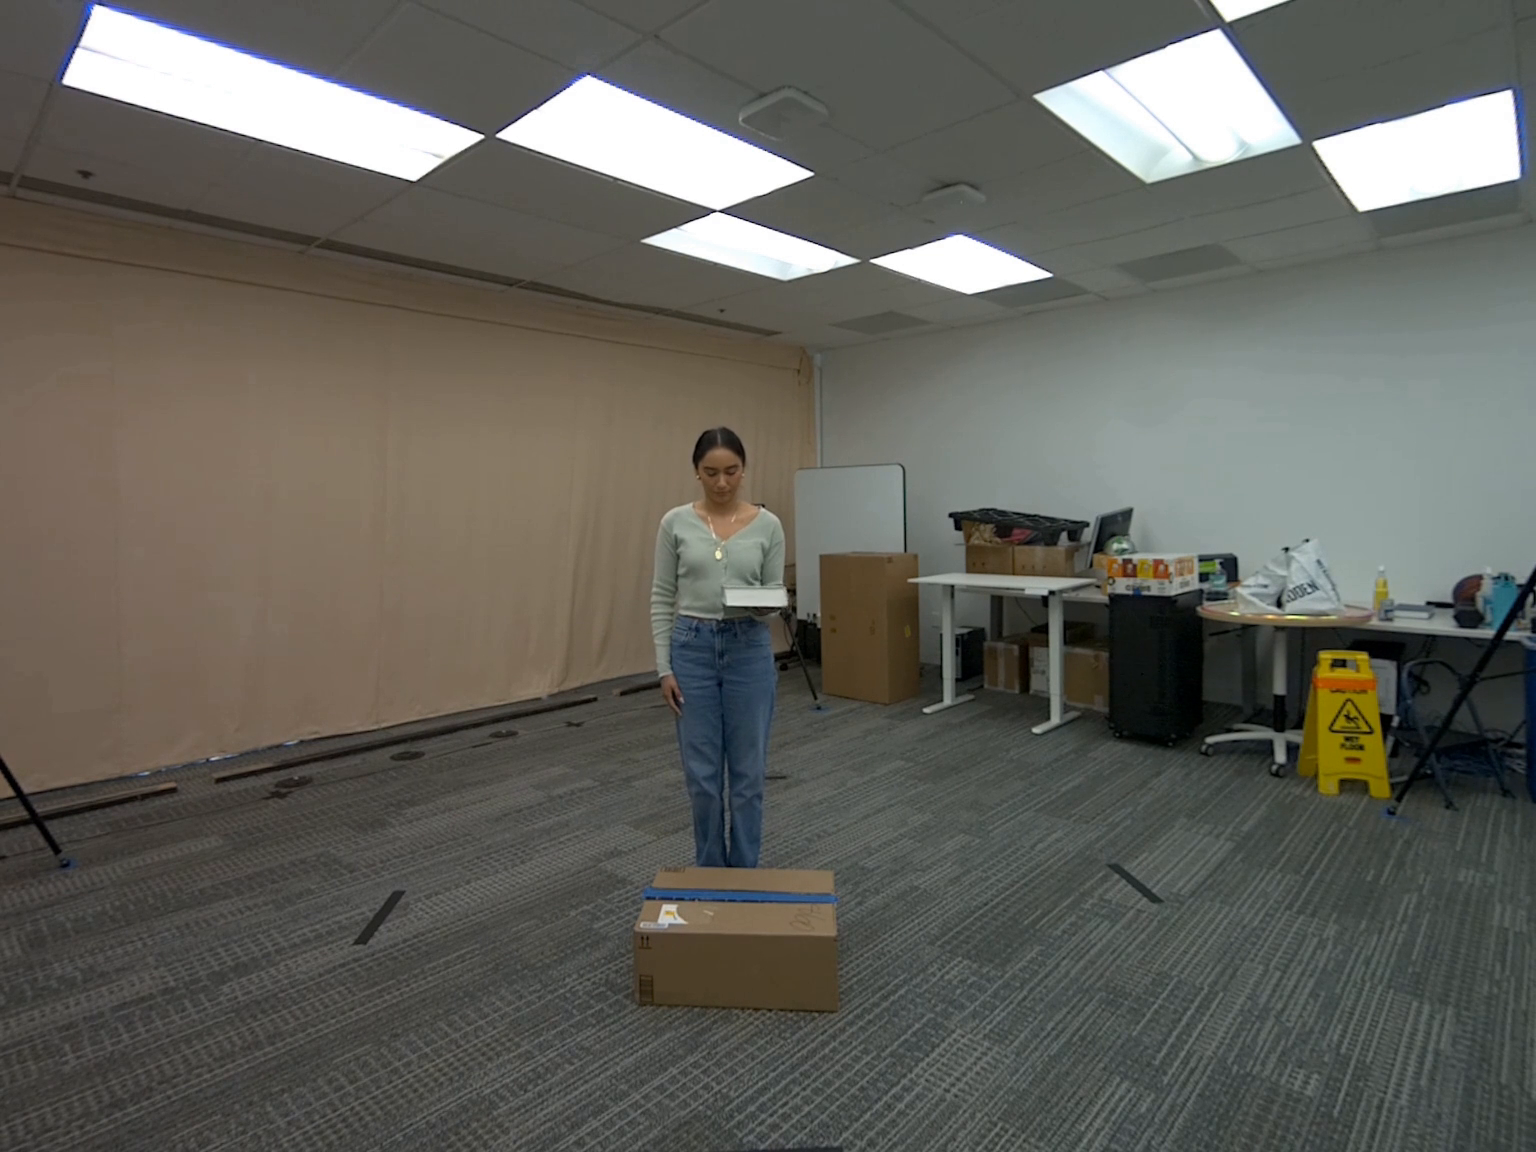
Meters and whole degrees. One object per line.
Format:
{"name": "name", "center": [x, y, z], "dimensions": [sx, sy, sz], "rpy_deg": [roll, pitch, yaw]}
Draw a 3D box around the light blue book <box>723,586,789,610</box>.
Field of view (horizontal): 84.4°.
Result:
{"name": "light blue book", "center": [-0.055, 0.061, 2.634], "dimensions": [0.193, 0.059, 0.259], "rpy_deg": [2, 1, 7]}
